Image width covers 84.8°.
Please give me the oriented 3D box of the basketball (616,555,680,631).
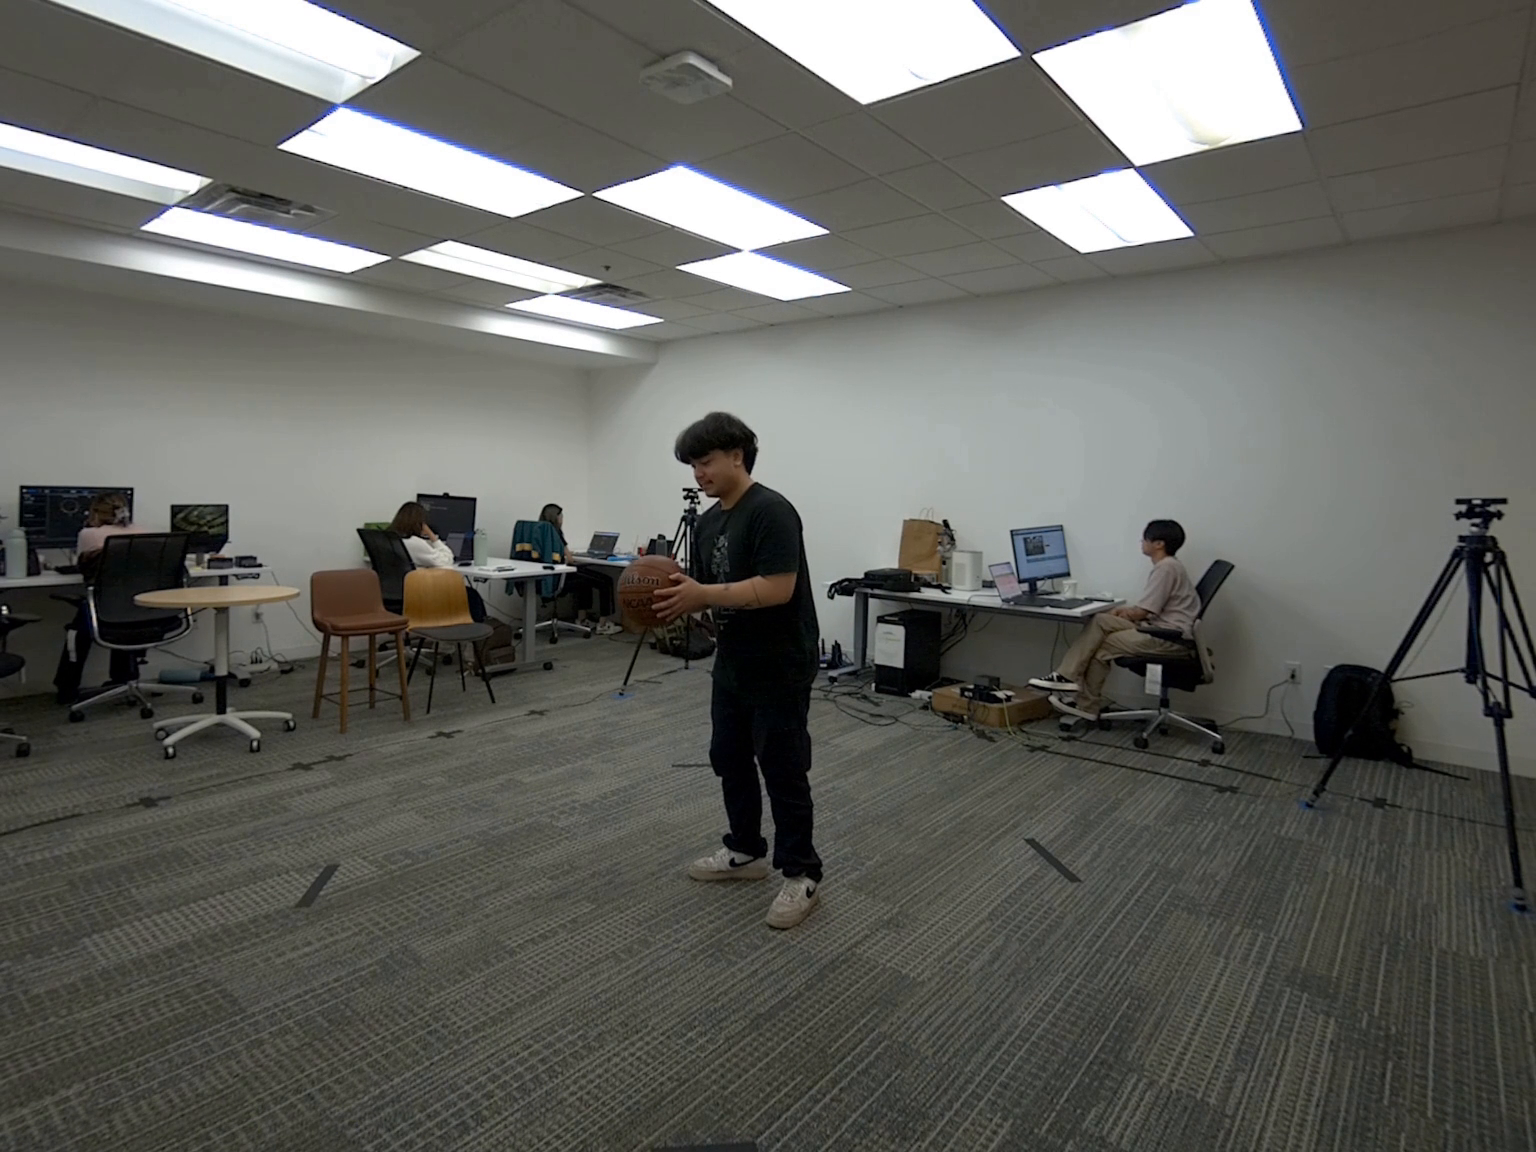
[{"bbox_3d":[-0.377,0.050,2.762,0.235,0.235,0.237,1,4,-2],"label":"basketball"}]
